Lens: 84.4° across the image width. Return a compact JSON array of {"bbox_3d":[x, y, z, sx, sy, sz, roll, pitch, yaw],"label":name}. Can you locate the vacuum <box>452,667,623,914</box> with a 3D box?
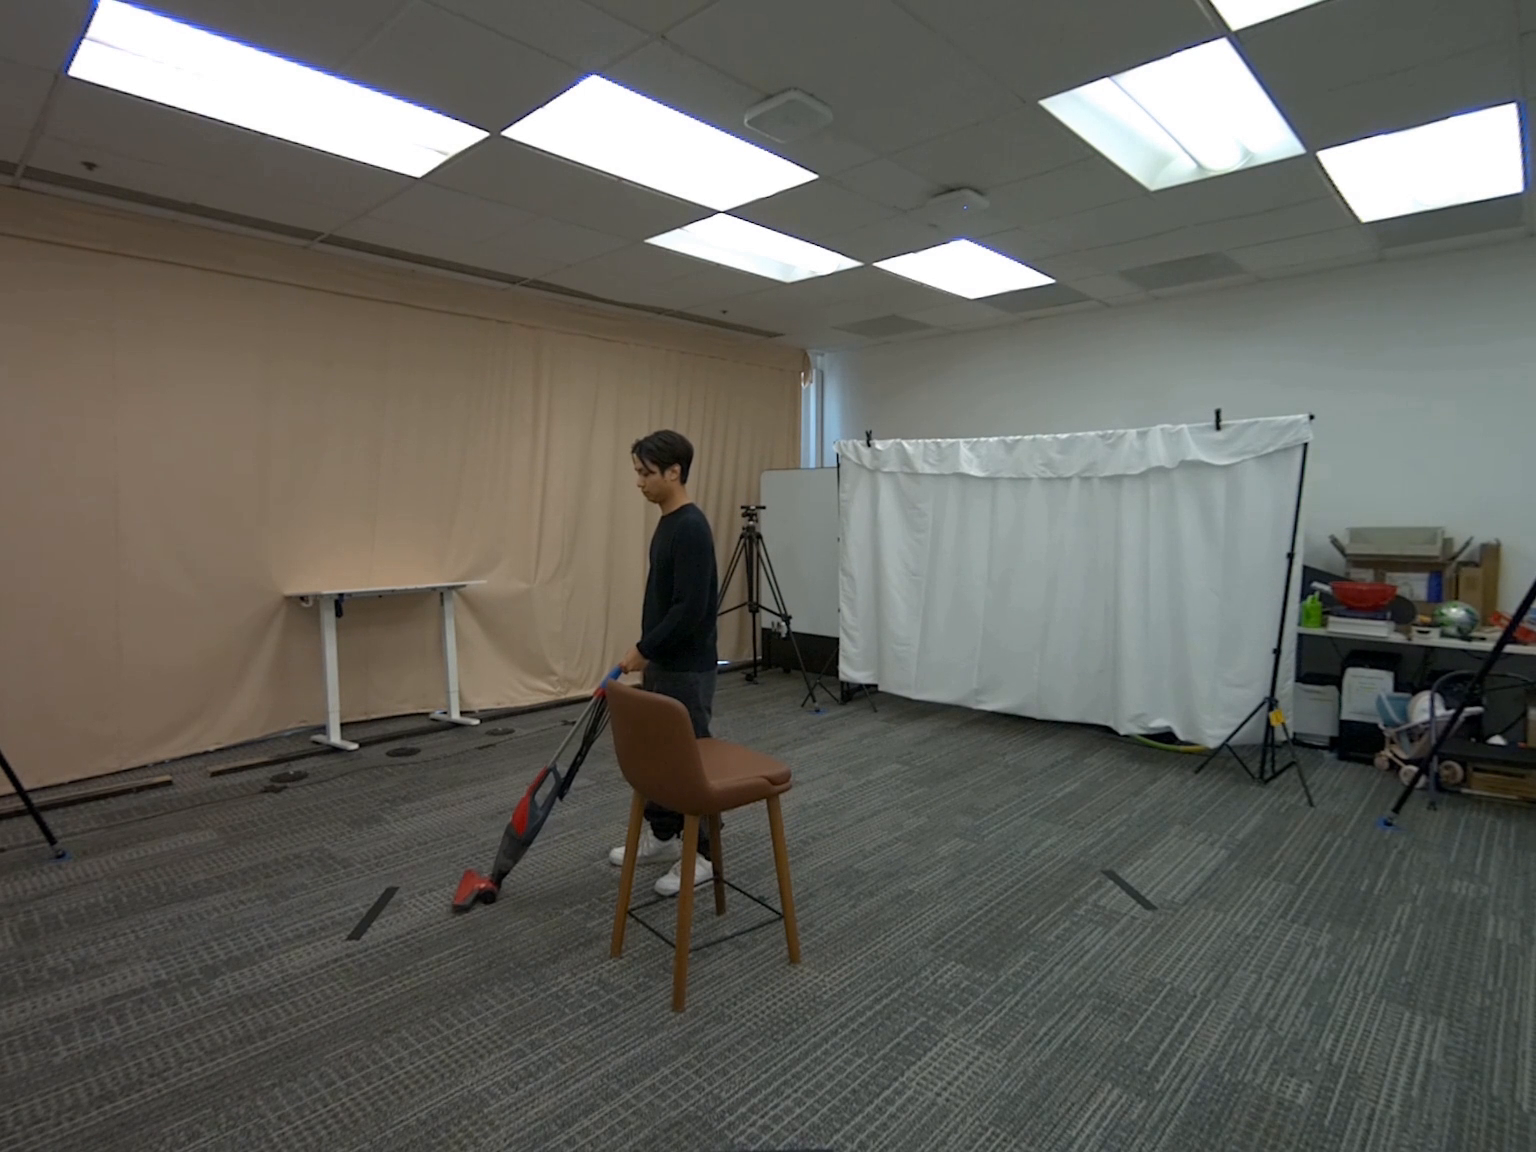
[{"bbox_3d":[-0.755,0.711,3.006,0.142,1.049,0.256,35,0,-12],"label":"vacuum"}]
